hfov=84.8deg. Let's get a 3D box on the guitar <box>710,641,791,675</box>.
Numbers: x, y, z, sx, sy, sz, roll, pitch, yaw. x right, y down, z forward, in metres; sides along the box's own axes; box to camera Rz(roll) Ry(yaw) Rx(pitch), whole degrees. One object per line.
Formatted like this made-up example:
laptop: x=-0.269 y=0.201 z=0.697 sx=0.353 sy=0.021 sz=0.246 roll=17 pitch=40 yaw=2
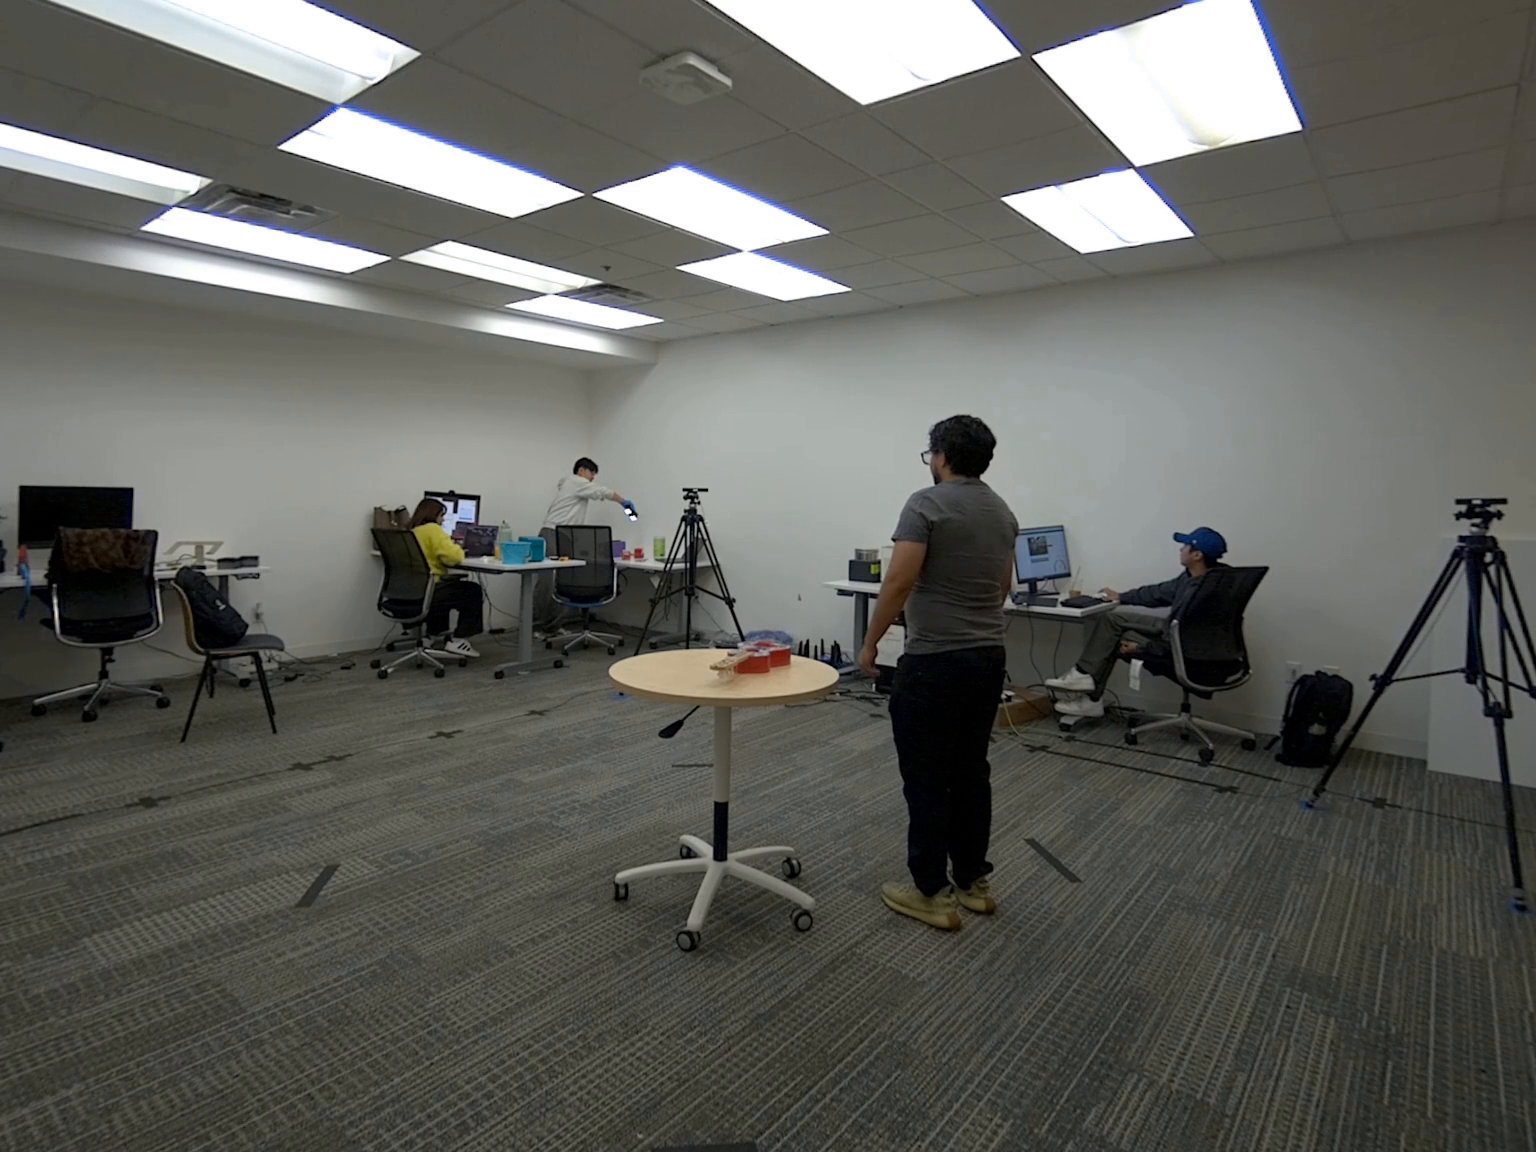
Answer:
guitar: x=-0.104 y=0.277 z=2.855 sx=0.199 sy=0.070 sz=0.485 roll=6 pitch=7 yaw=29
